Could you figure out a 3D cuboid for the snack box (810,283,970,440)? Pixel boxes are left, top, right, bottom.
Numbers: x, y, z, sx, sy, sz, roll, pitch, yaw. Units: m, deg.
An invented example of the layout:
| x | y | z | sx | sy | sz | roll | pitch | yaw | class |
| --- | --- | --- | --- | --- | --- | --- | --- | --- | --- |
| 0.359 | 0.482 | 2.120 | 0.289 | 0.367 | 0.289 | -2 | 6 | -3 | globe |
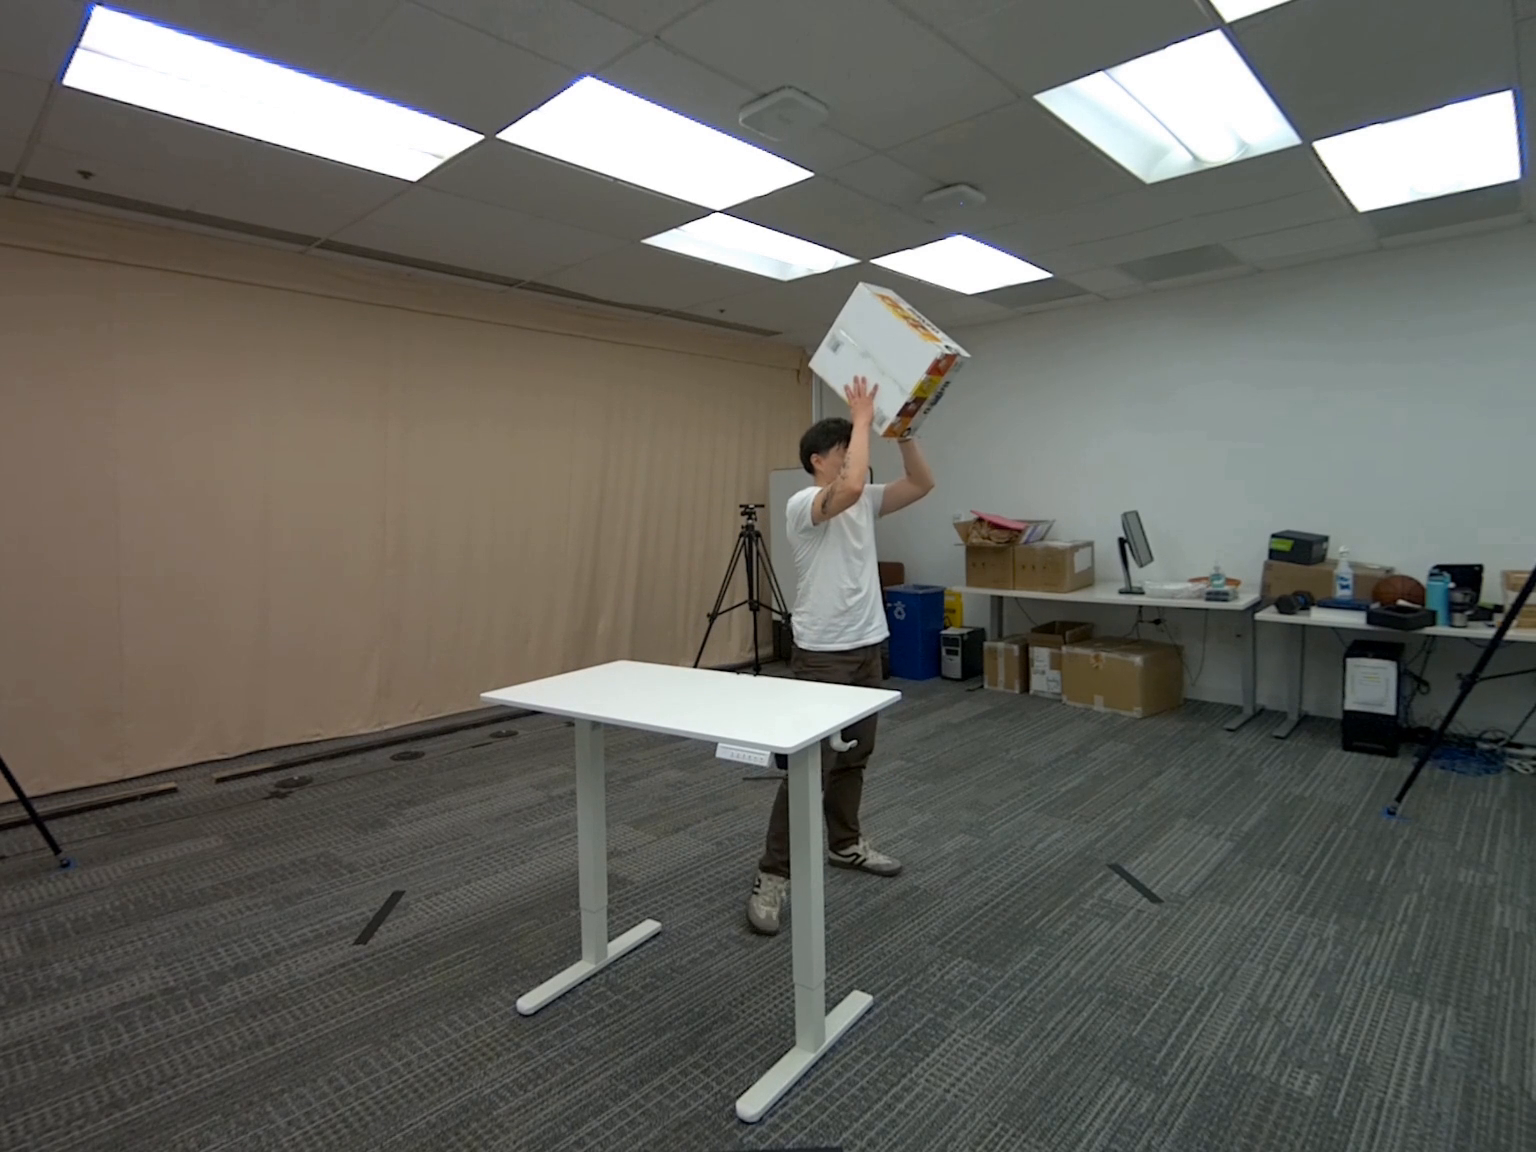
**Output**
| x | y | z | sx | sy | sz | roll | pitch | yaw | class |
| --- | --- | --- | --- | --- | --- | --- | --- | --- | --- |
| 0.417 | -0.724 | 2.866 | 0.199 | 0.341 | 0.416 | -6 | 49 | -48 | snack box |
